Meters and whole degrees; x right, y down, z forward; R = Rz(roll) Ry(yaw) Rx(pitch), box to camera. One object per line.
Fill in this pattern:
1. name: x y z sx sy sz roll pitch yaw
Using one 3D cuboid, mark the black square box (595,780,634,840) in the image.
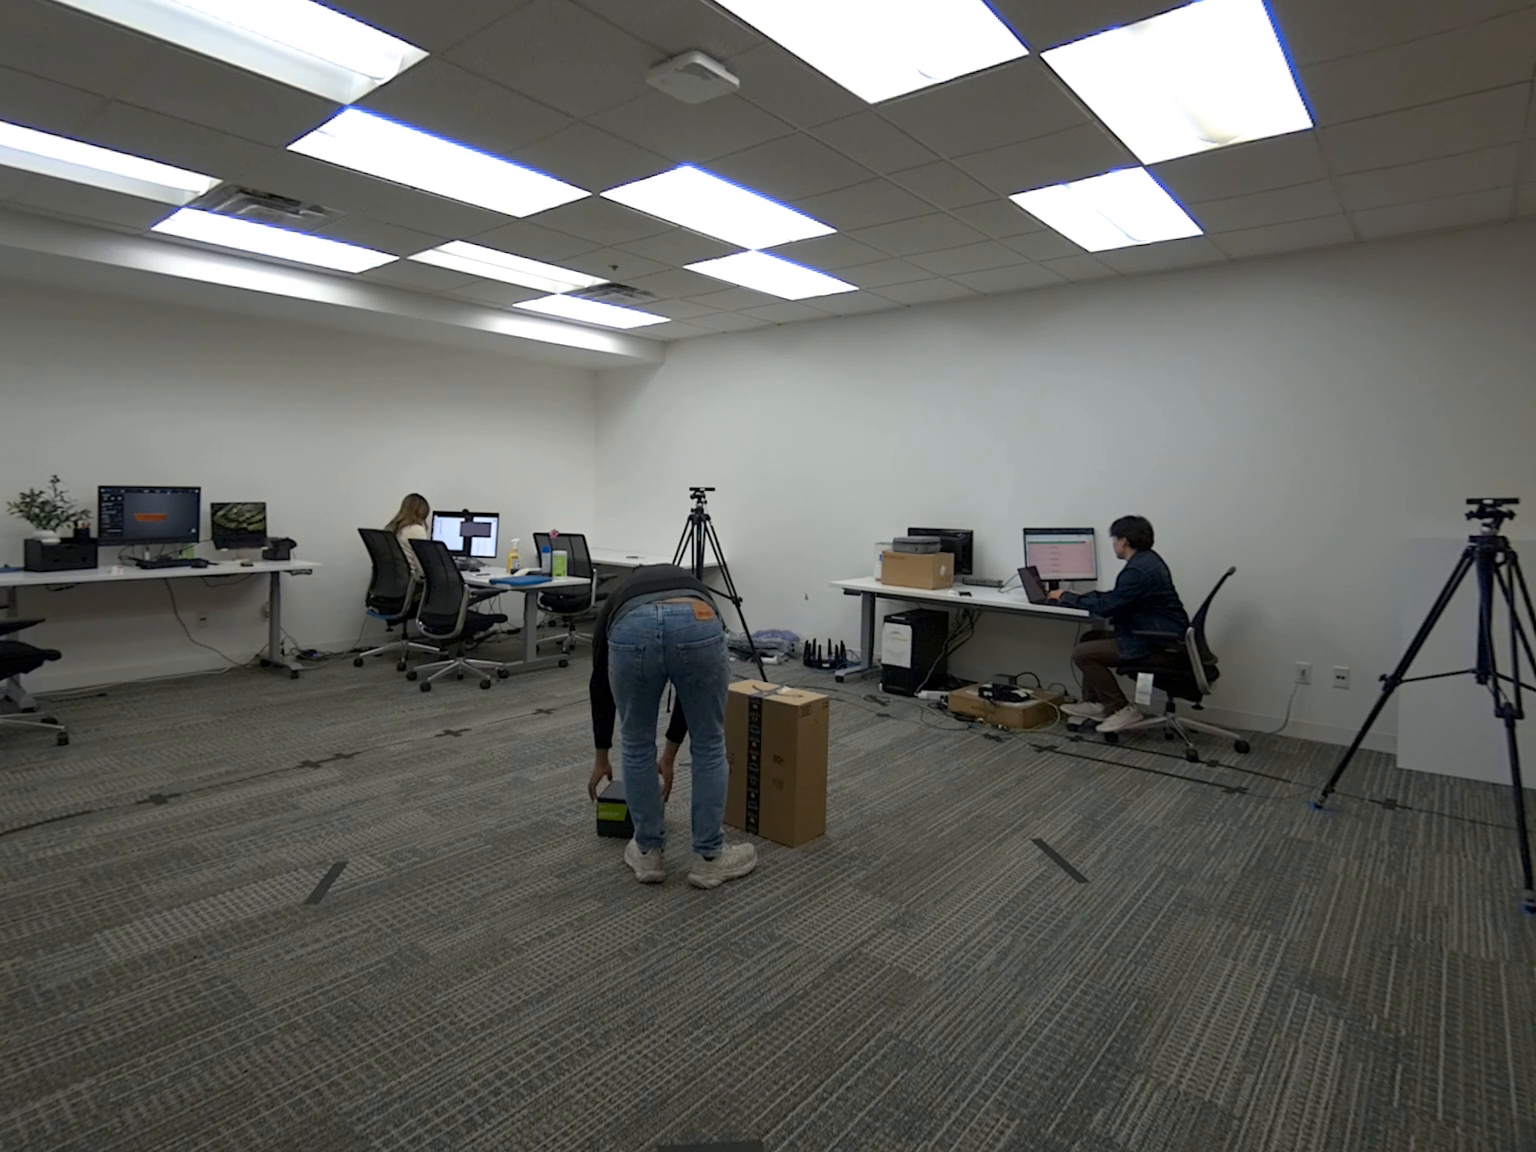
1. black square box: -0.569 0.938 3.467 0.230 0.155 0.216 1 5 7
